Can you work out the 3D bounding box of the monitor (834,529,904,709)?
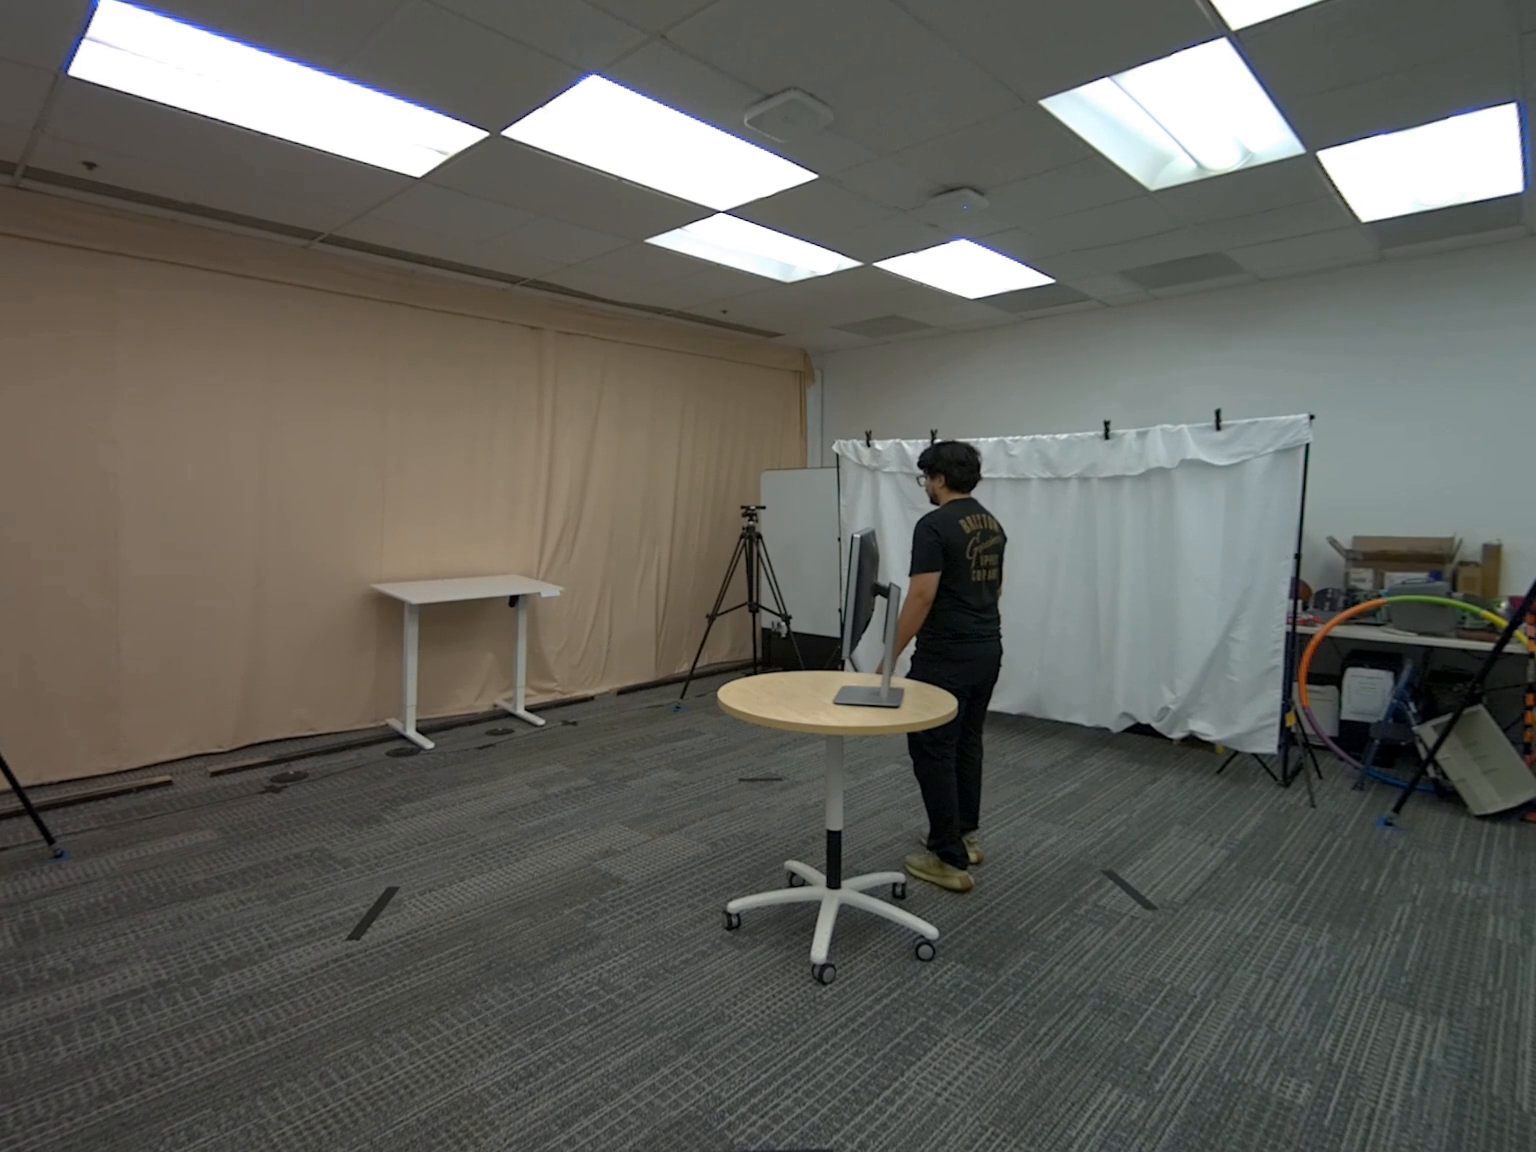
[{"bbox_3d":[0.355,0.129,2.665,0.213,0.552,0.559,4,5,11],"label":"monitor"}]
